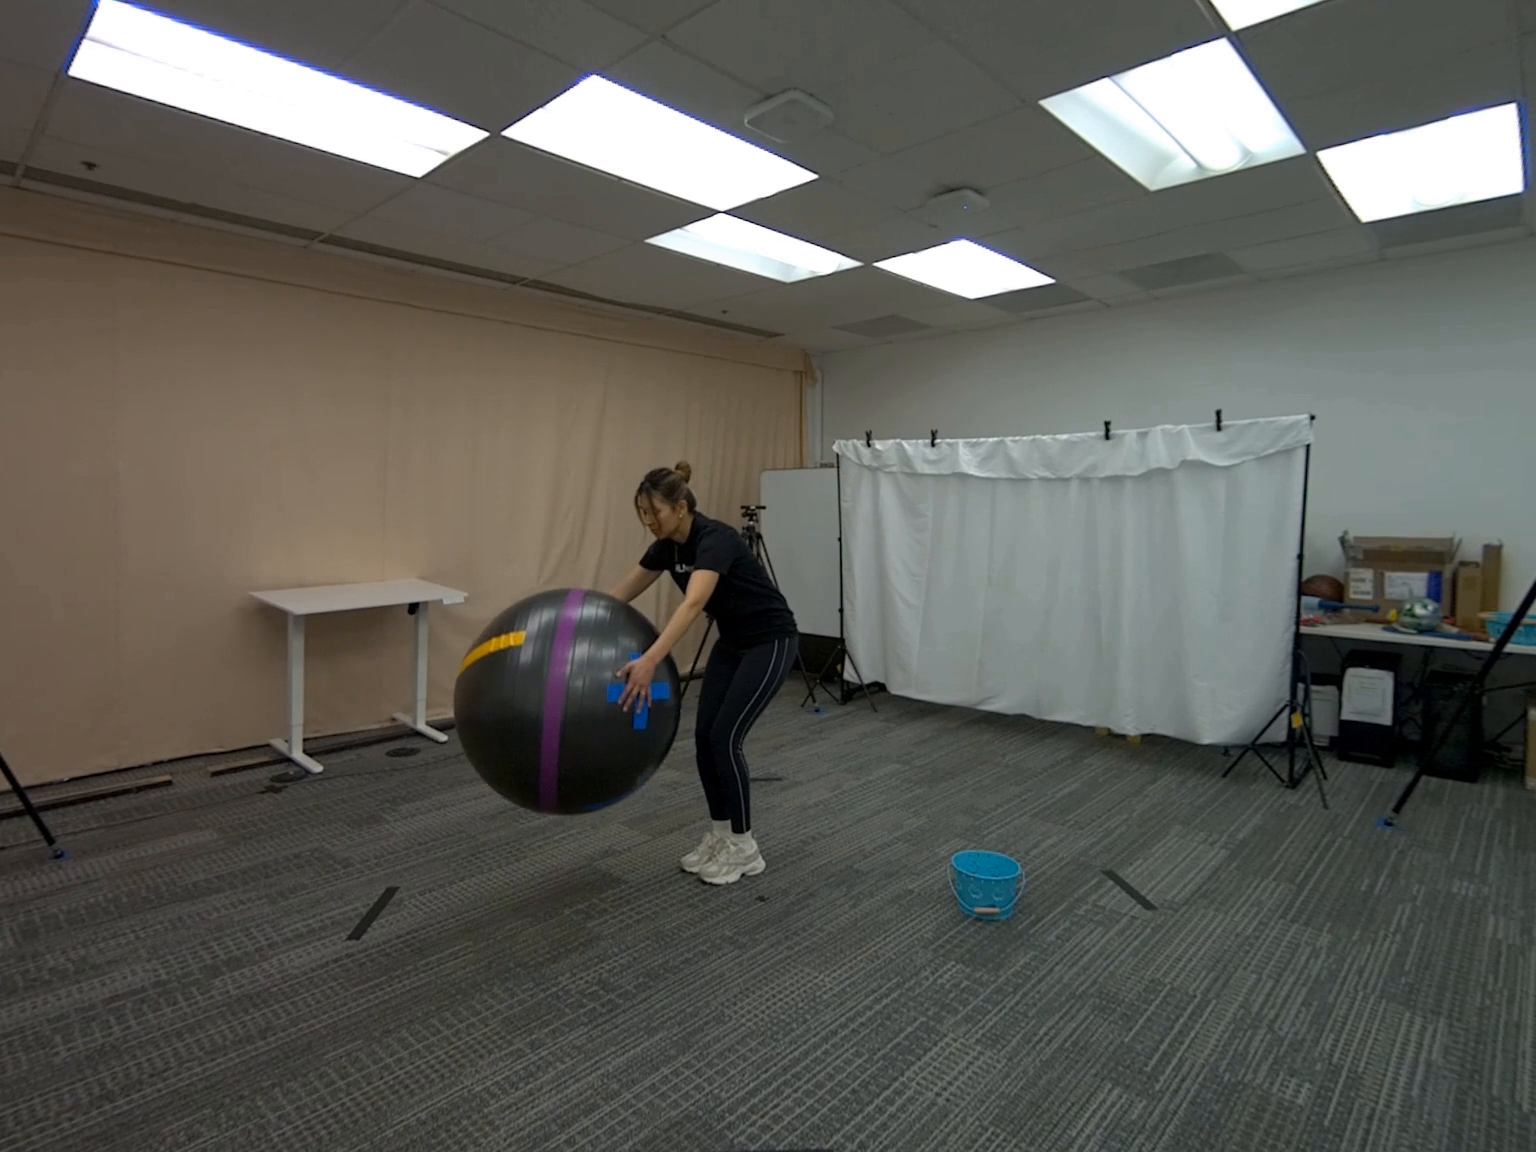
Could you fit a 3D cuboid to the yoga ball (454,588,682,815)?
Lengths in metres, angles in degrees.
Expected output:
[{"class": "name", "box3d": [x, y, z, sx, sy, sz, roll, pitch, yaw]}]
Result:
[{"class": "yoga ball", "box3d": [-0.679, 0.424, 2.869, 0.757, 0.756, 0.761, 0, 4, -2]}]
